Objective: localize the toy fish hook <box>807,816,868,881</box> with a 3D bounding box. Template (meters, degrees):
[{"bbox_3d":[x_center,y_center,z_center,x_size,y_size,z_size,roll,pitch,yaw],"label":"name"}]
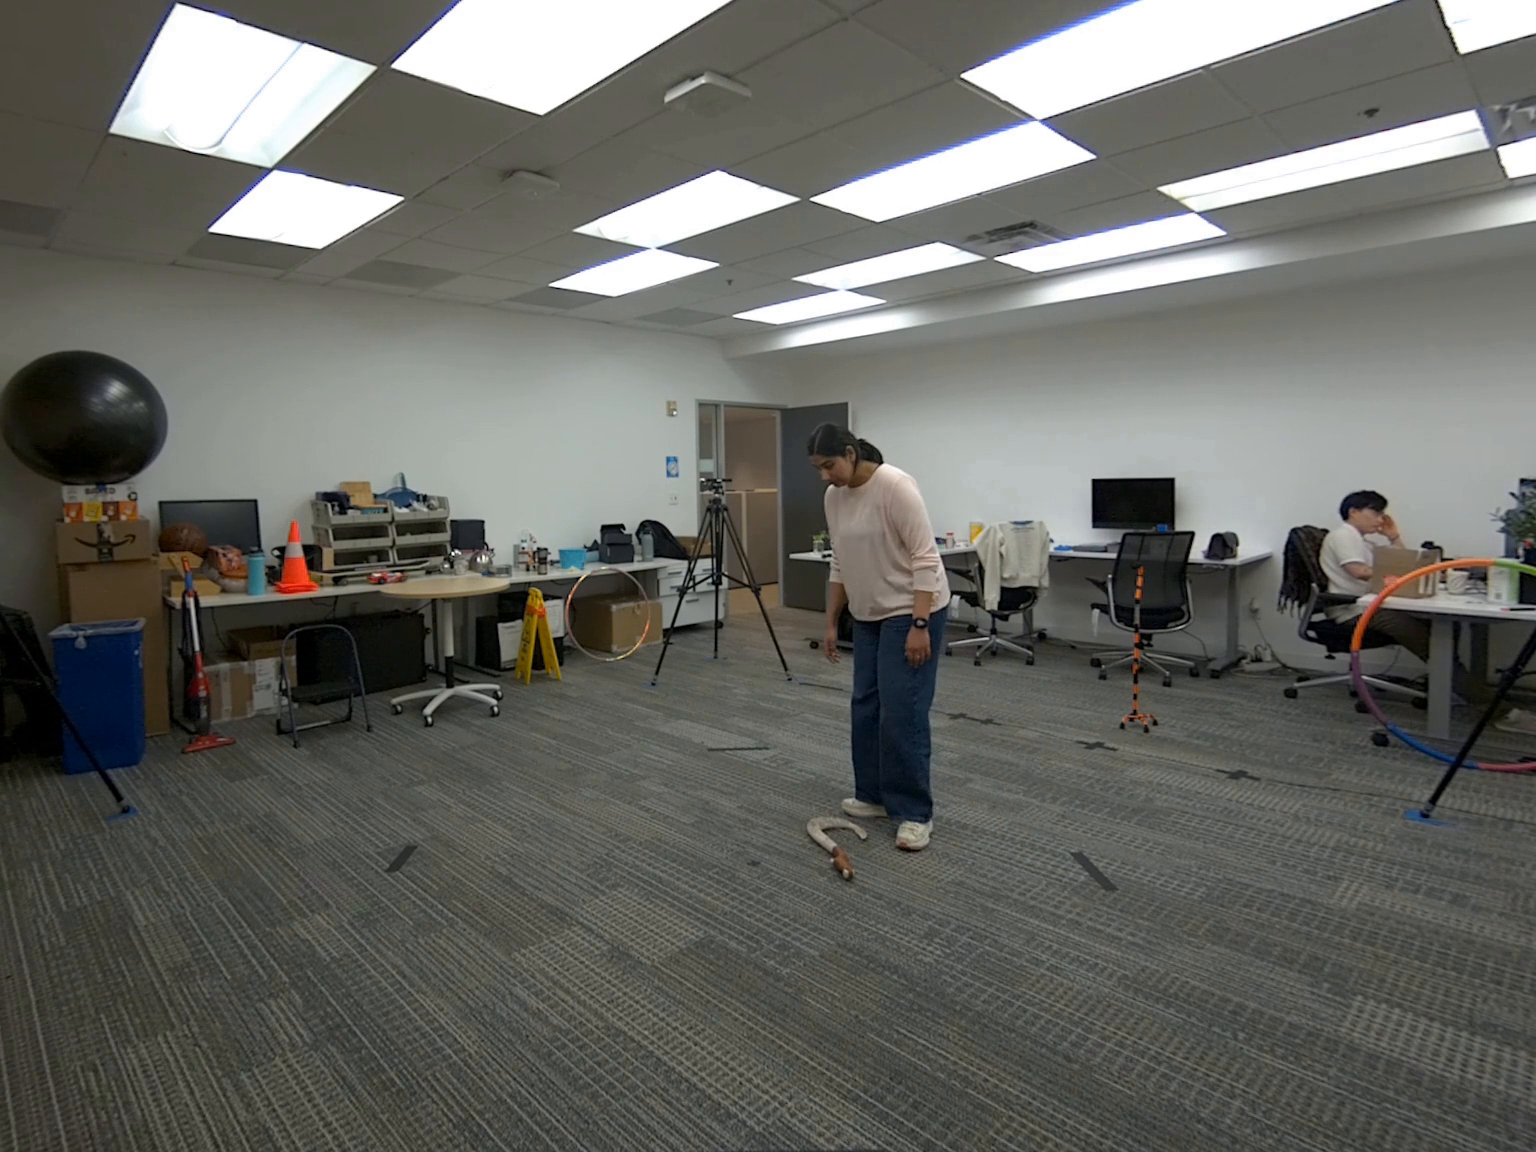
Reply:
[{"bbox_3d":[0.291,1.007,3.196,0.223,0.048,0.513,-3,7,-10],"label":"toy fish hook"}]
